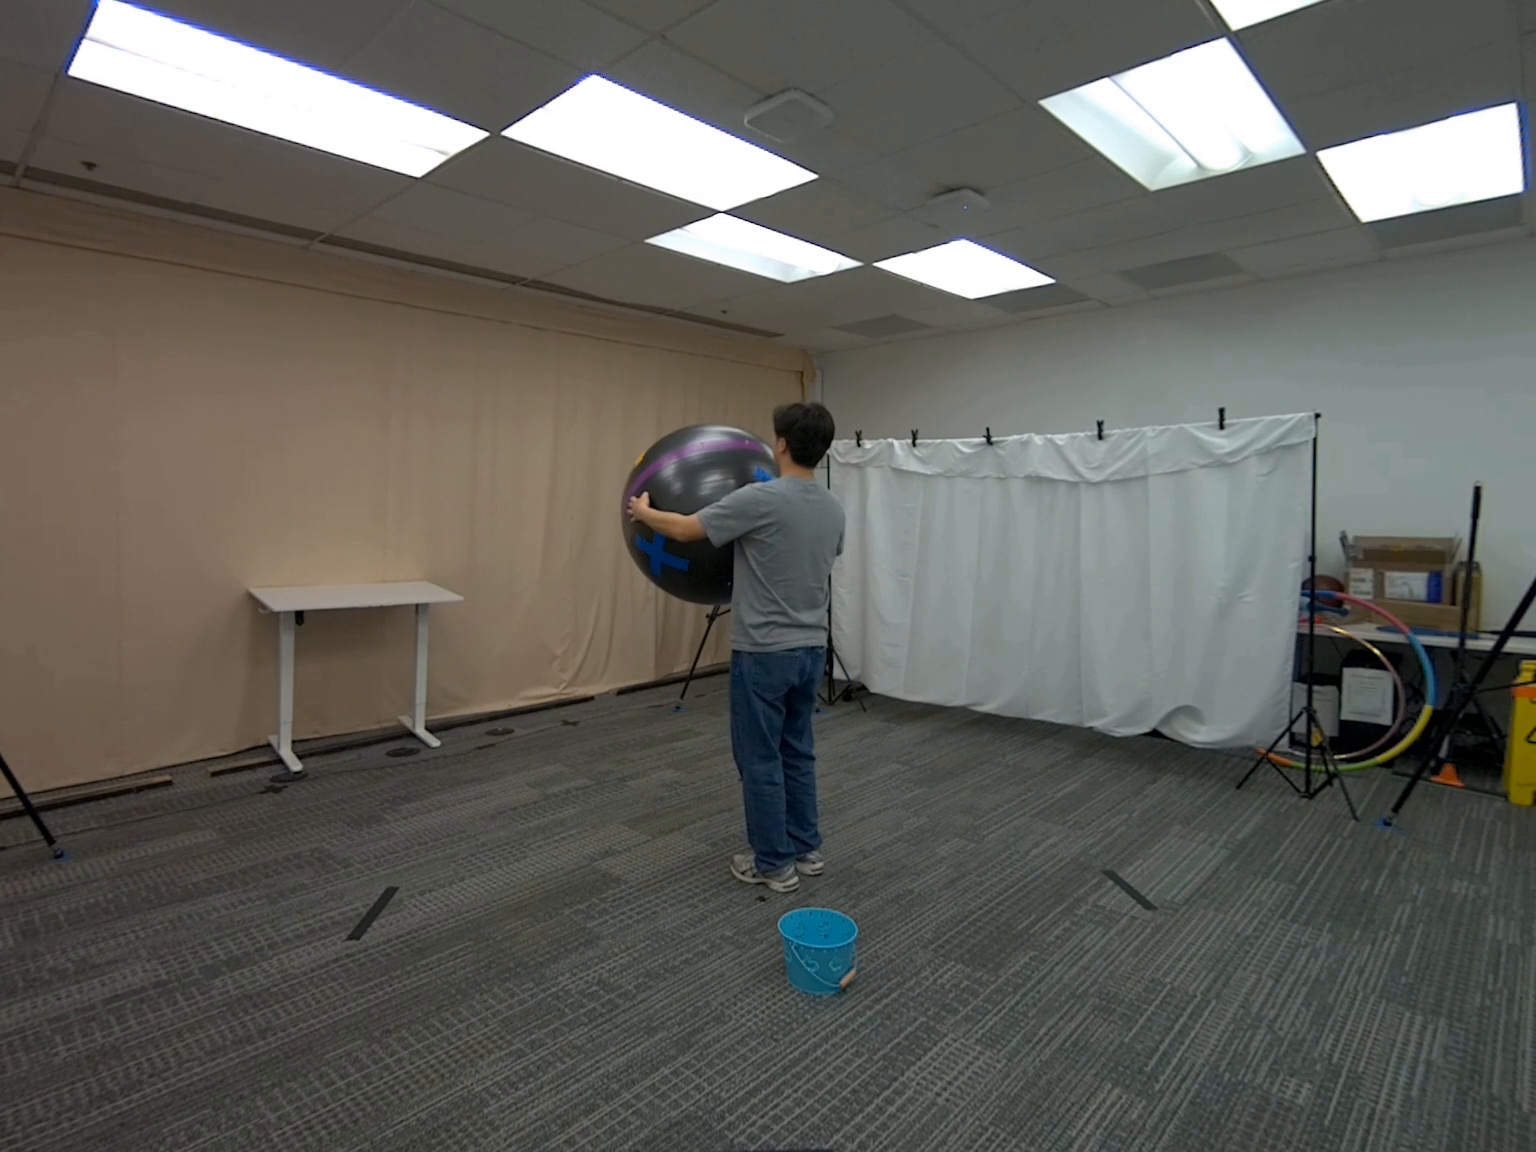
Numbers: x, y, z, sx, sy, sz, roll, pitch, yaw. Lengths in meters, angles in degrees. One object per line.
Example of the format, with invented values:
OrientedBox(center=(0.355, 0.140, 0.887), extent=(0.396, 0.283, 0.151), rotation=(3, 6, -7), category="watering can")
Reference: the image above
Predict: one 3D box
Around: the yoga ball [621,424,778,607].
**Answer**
OrientedBox(center=(-0.243, -0.254, 3.551), extent=(0.757, 0.756, 0.761), rotation=(0, 4, -2), category="yoga ball")
